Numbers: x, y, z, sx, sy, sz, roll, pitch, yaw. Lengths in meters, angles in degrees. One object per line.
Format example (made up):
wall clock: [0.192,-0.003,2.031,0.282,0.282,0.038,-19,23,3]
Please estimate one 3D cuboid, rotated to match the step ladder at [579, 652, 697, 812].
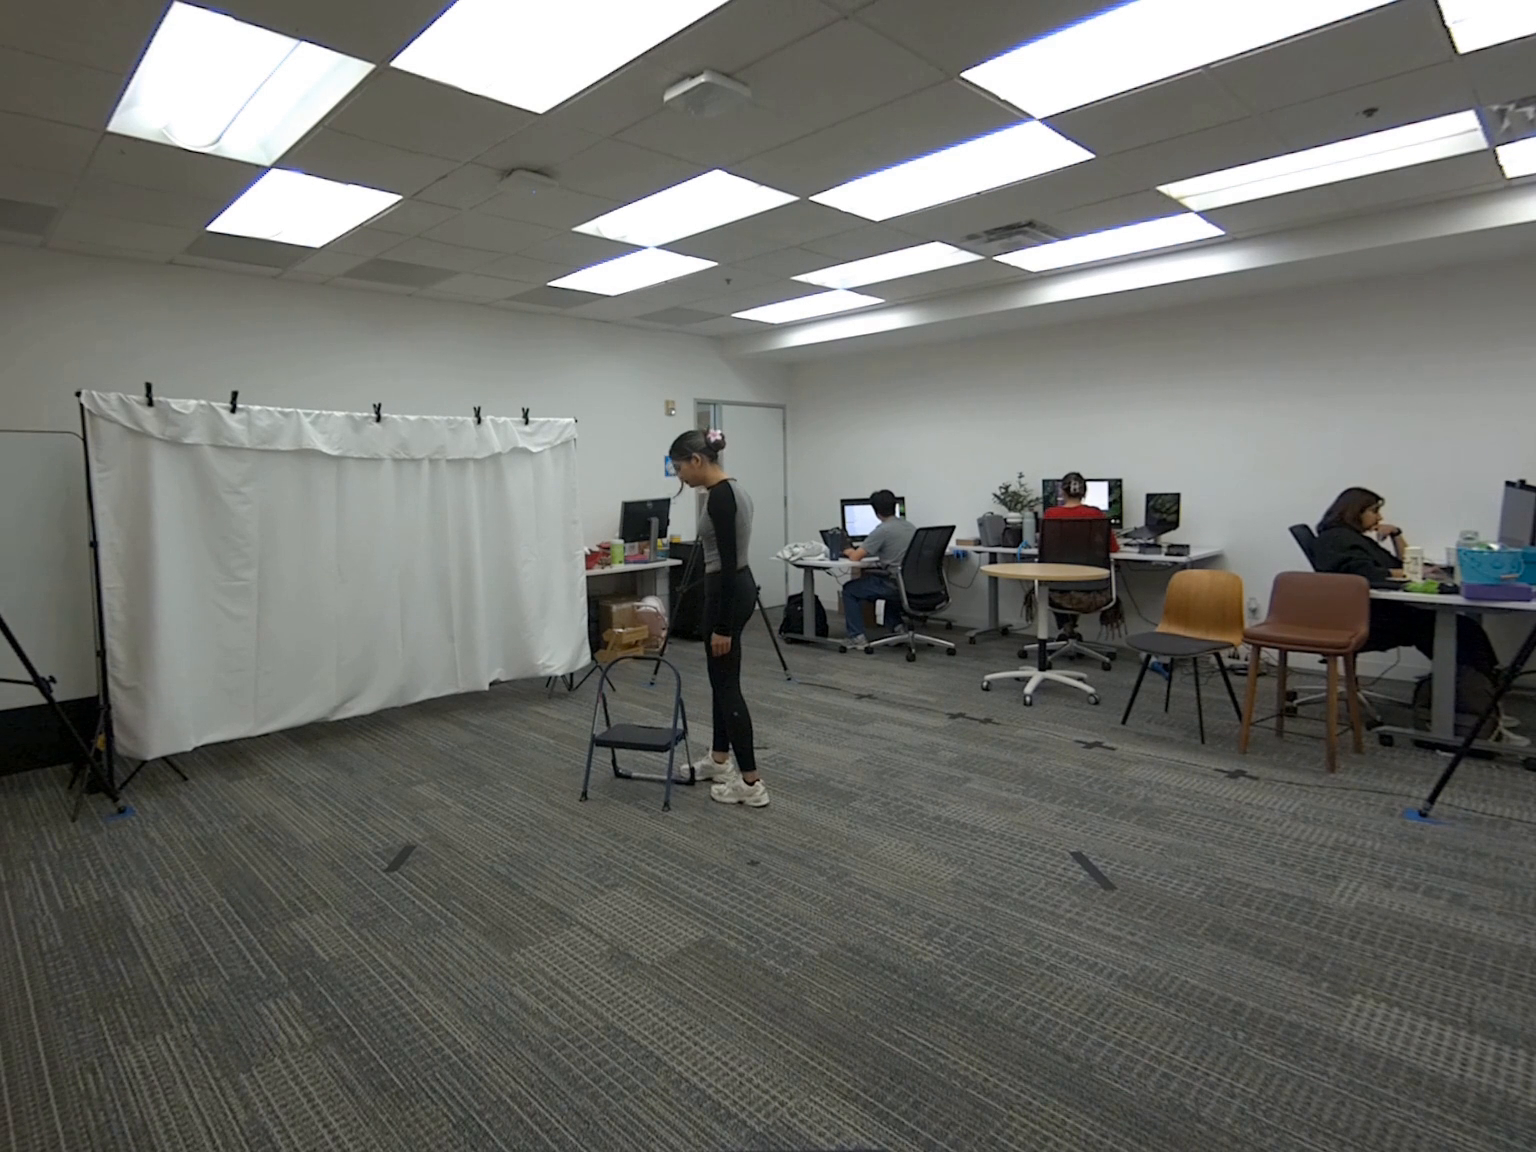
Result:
step ladder: [-0.585,0.676,3.820,0.439,0.604,0.344,1,5,19]
